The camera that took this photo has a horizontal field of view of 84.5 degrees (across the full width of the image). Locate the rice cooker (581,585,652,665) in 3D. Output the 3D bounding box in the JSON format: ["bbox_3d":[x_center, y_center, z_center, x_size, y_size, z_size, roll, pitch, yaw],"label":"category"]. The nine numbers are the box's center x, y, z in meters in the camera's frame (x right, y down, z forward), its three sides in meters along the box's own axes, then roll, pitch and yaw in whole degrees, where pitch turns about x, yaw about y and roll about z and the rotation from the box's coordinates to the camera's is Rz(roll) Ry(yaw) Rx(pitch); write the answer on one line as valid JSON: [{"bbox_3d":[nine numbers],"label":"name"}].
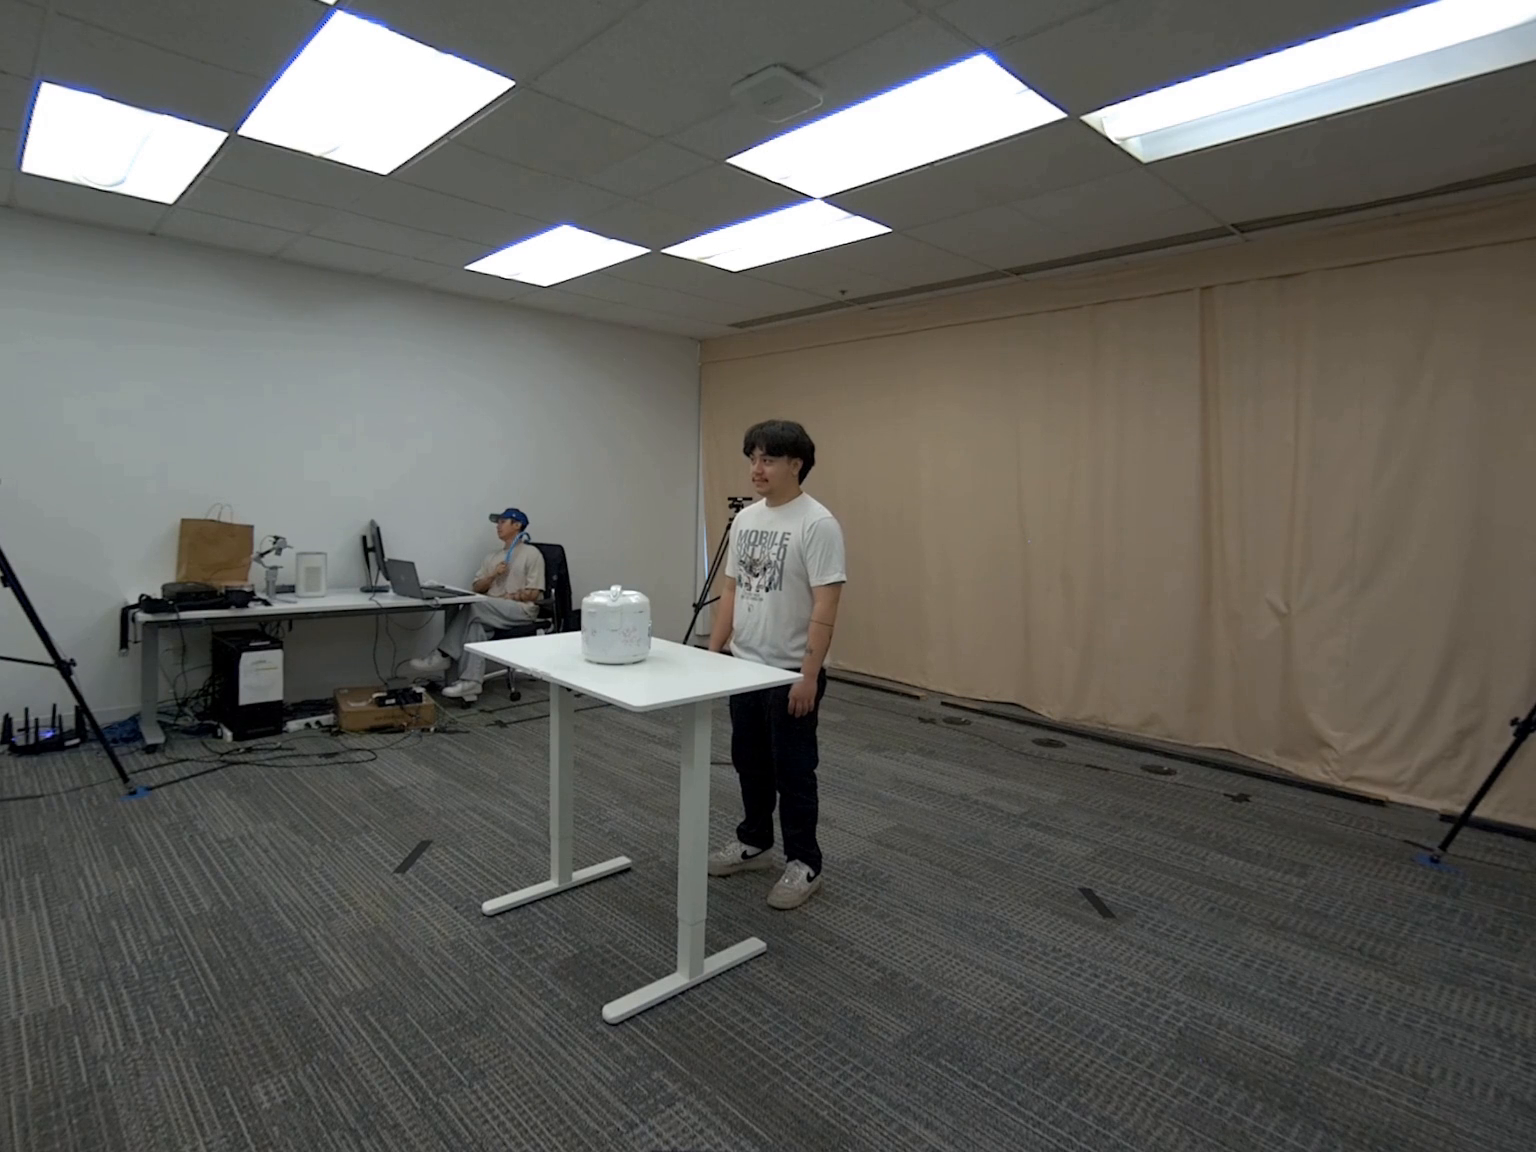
[{"bbox_3d":[-0.480,0.147,2.609,0.217,0.232,0.222,1,5,-3],"label":"rice cooker"}]
